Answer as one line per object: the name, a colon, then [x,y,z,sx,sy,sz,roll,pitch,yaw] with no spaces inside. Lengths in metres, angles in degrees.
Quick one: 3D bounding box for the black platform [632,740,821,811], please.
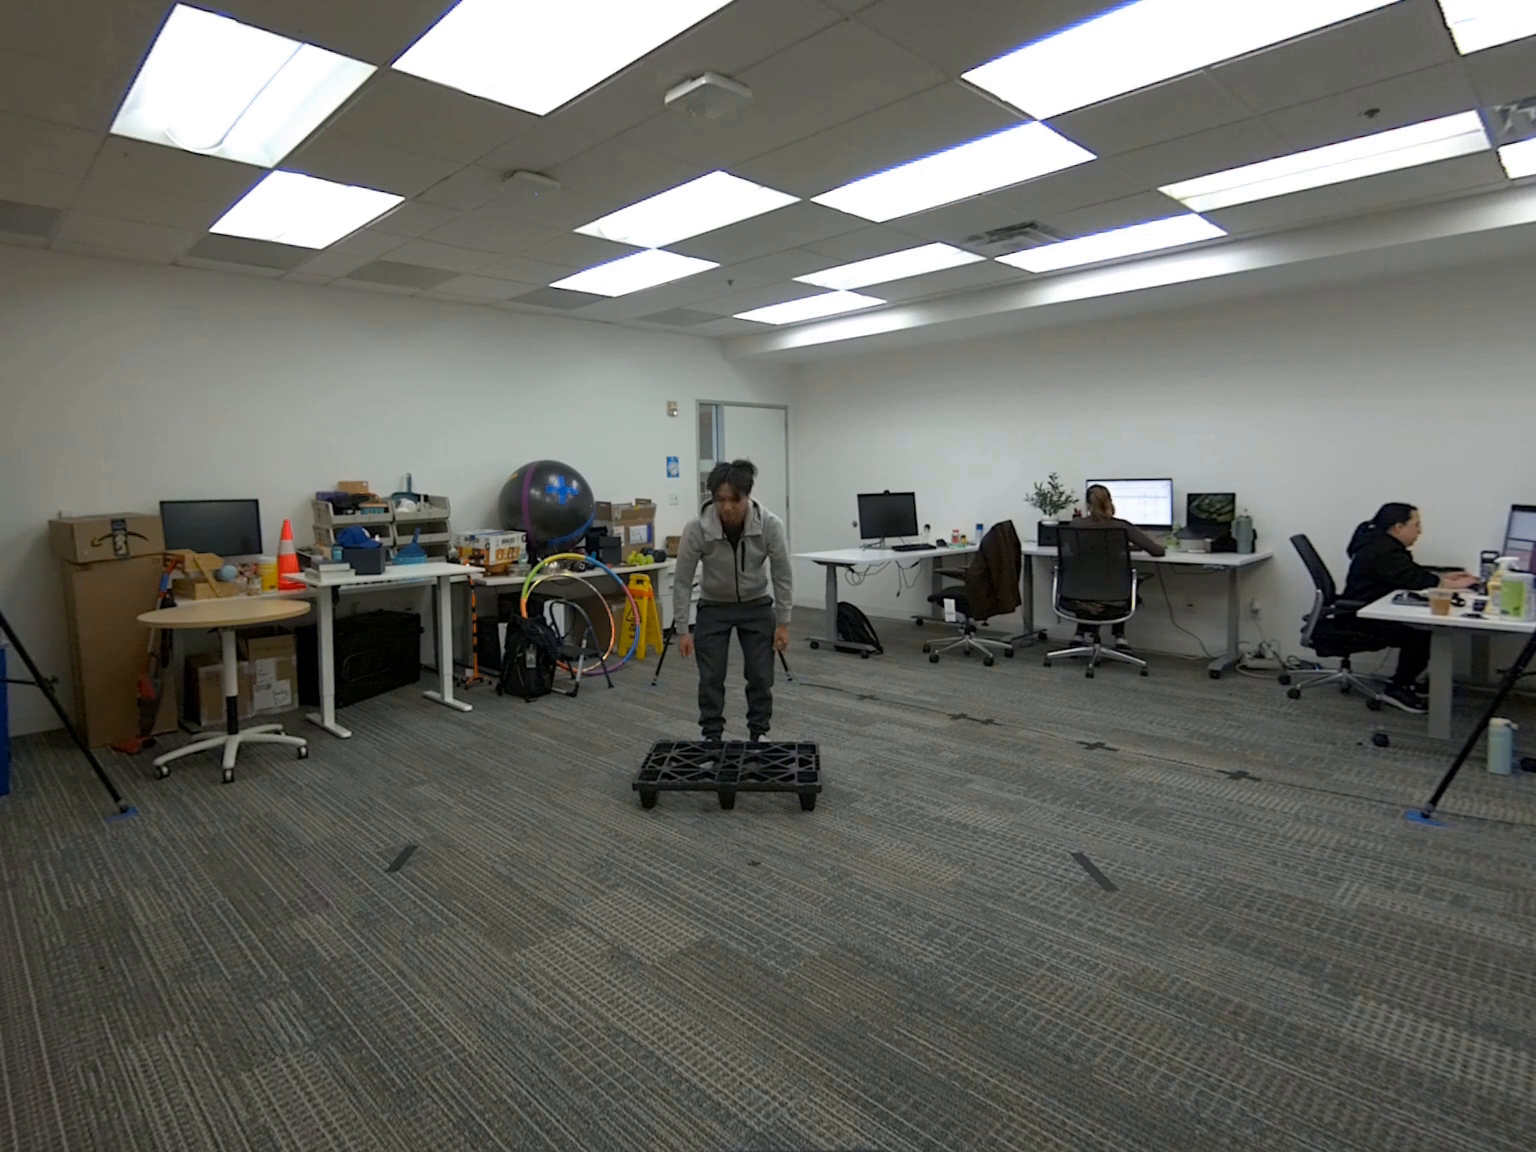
black platform: [-0.167,0.895,3.850,0.810,0.143,0.604,-1,5,4]
